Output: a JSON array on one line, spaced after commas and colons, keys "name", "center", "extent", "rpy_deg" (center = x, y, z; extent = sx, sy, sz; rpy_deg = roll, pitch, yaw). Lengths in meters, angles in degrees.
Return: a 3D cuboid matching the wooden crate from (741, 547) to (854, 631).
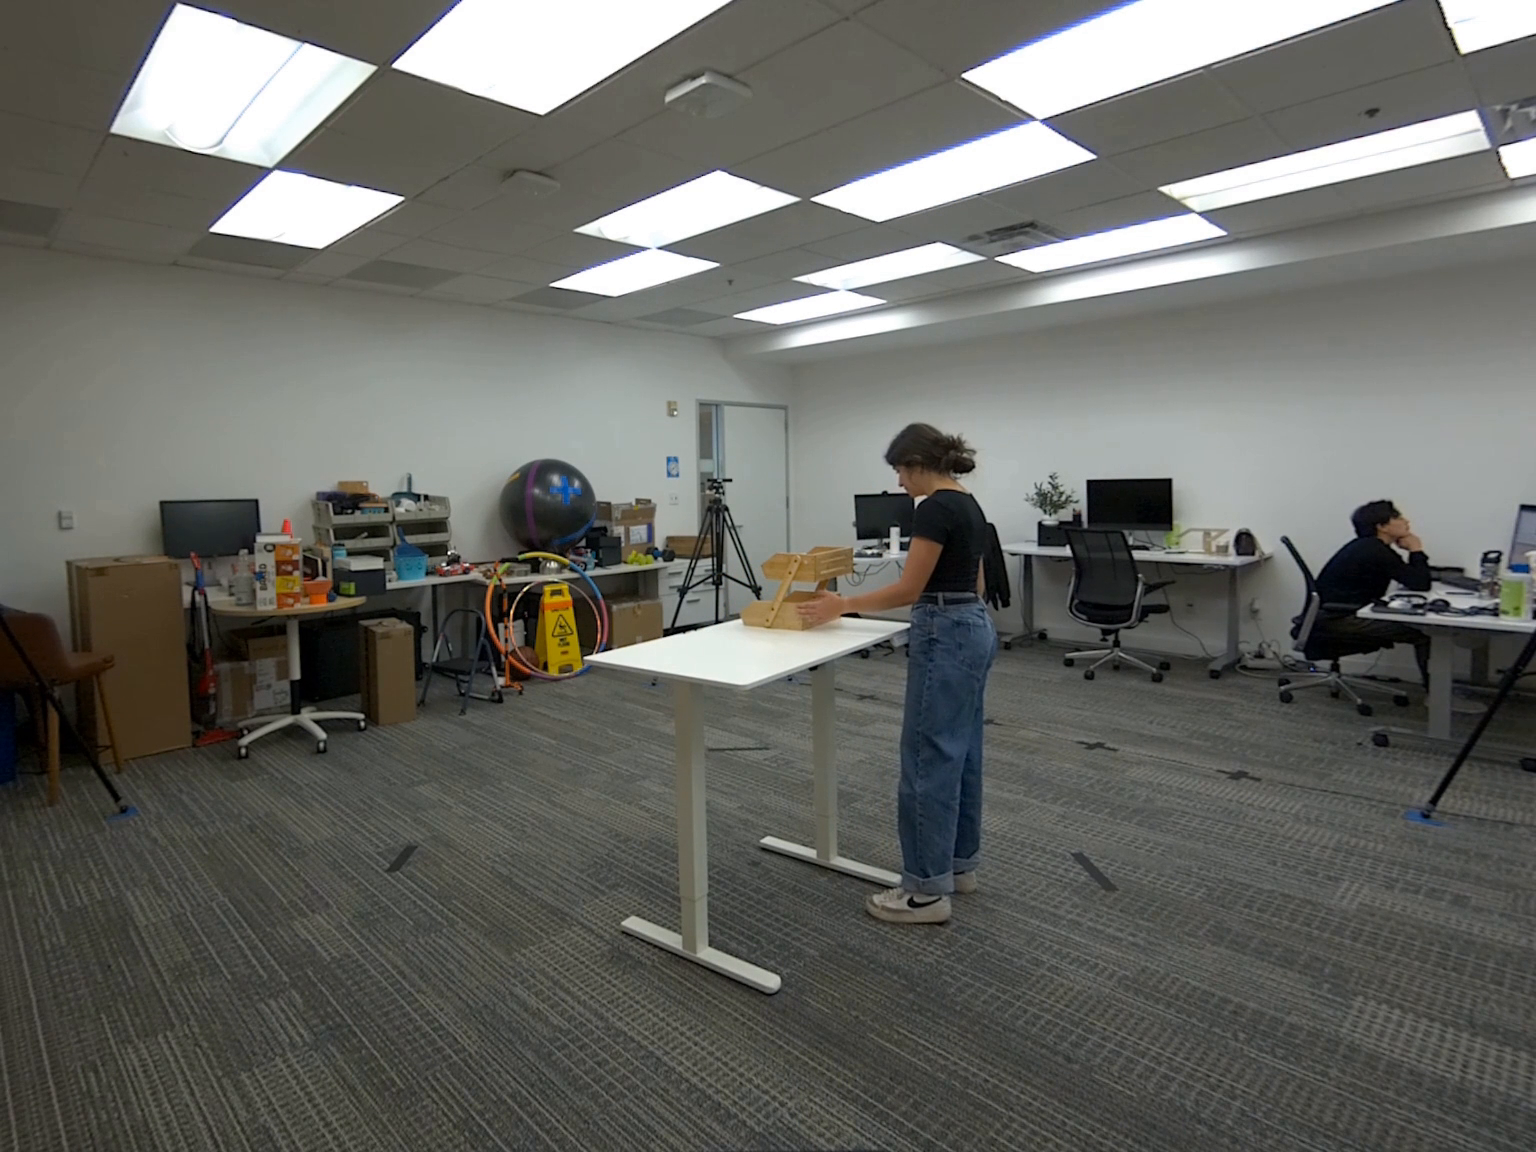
[{"name": "wooden crate", "center": [0.105, 0.030, 3.042], "extent": [0.310, 0.272, 0.317], "rpy_deg": [3, 7, 32]}]
